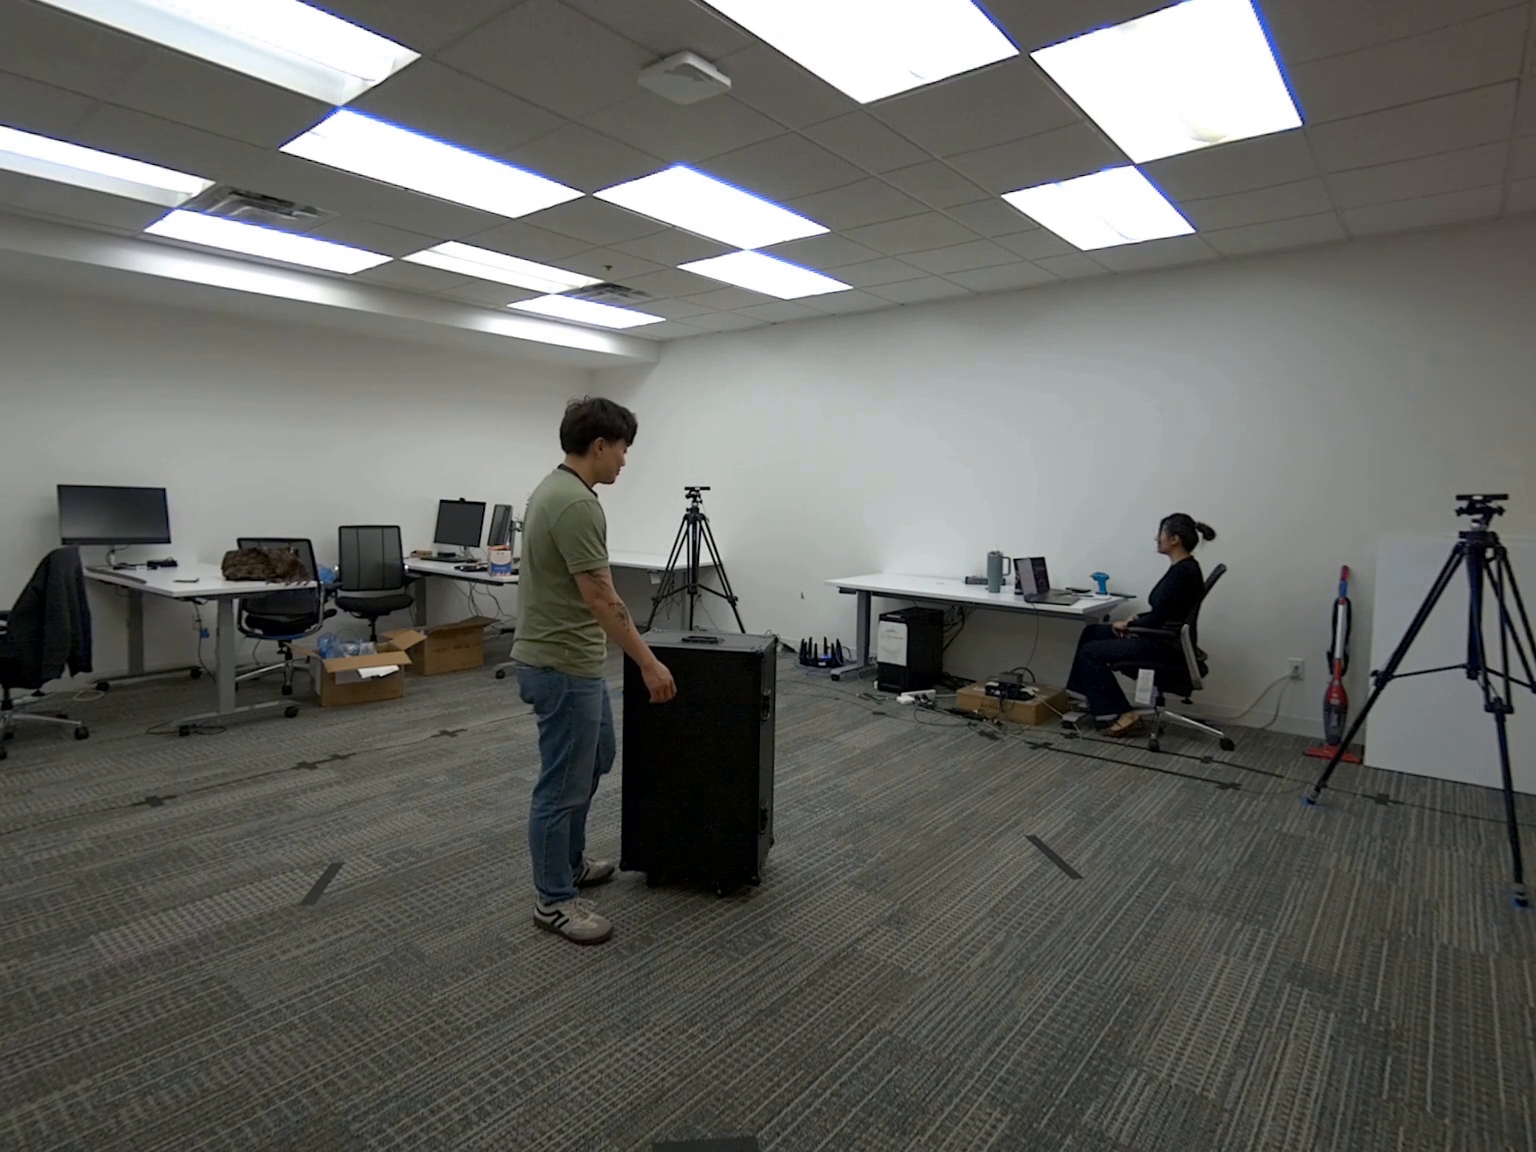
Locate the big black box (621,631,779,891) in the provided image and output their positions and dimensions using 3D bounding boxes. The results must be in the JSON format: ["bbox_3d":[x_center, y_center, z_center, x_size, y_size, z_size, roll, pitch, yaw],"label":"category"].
[{"bbox_3d":[-0.249,0.648,3.041,0.528,0.860,0.392,2,3,10],"label":"big black box"}]
